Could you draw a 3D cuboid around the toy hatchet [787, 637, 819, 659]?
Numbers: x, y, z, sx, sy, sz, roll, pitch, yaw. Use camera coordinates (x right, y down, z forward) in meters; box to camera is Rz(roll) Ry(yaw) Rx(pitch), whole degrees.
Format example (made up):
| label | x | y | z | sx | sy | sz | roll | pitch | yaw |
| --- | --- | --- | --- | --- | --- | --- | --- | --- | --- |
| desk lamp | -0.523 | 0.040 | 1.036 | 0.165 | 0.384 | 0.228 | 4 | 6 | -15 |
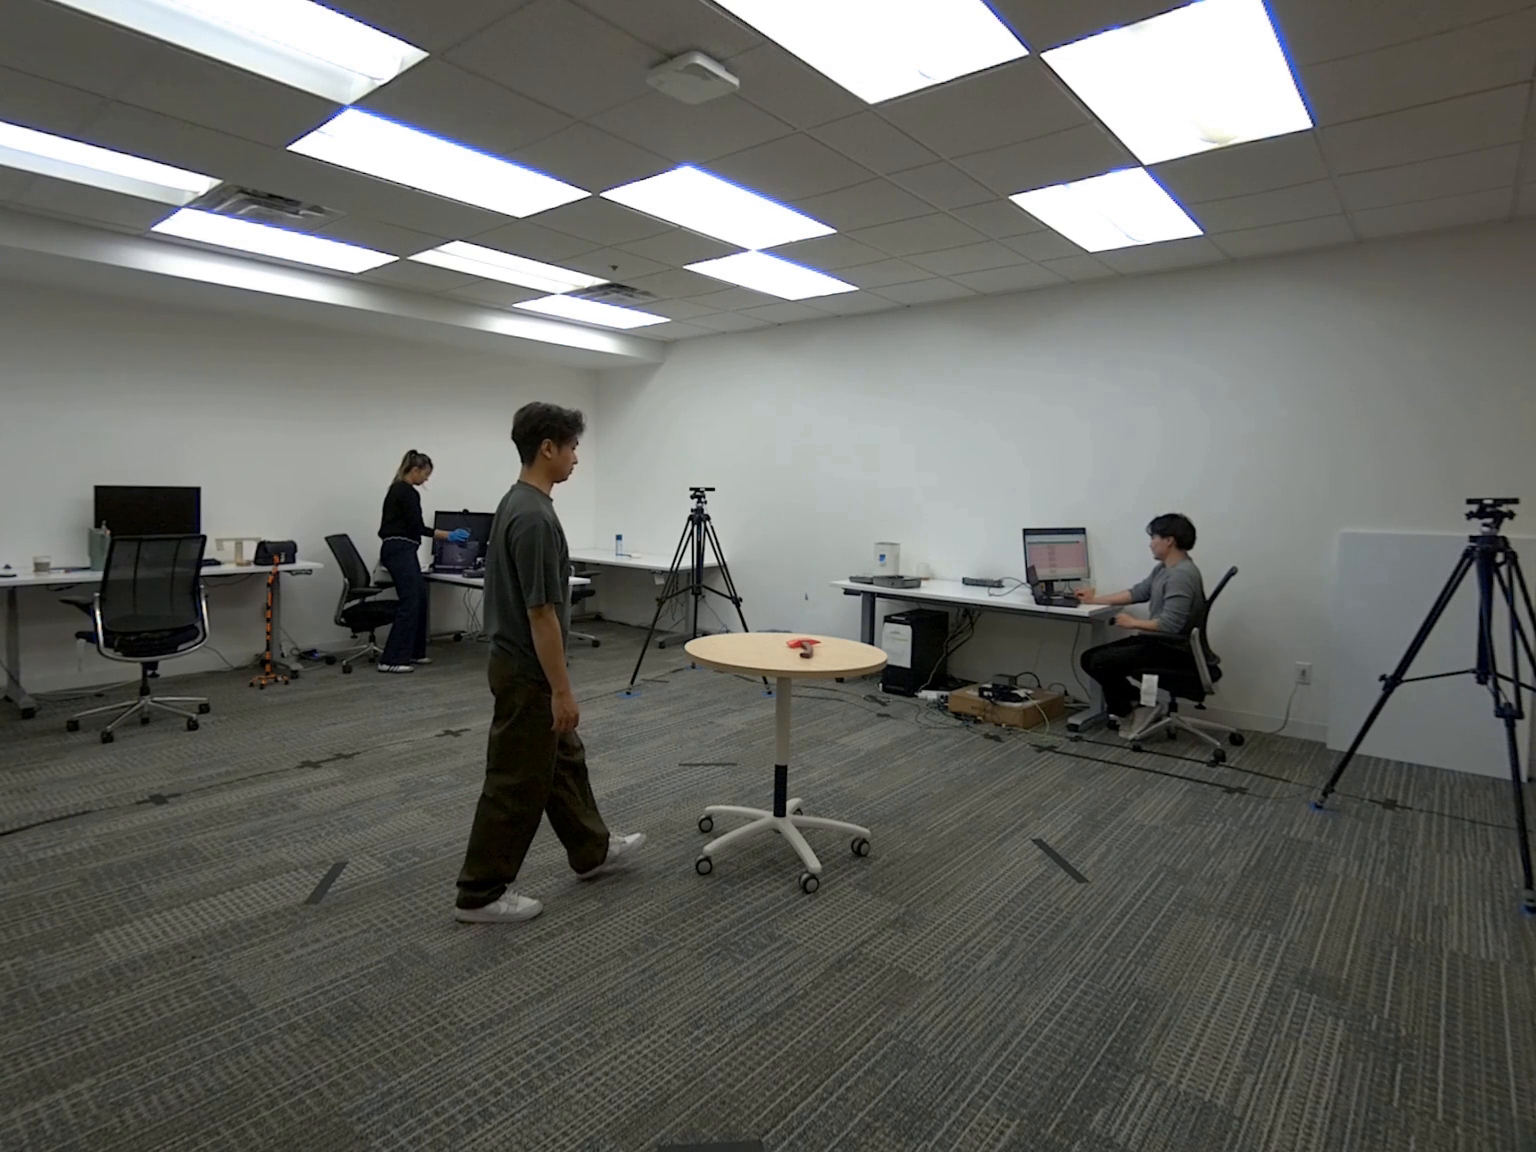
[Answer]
| label | x | y | z | sx | sy | sz | roll | pitch | yaw |
| --- | --- | --- | --- | --- | --- | --- | --- | --- | --- |
| toy hatchet | 0.114 | 0.268 | 3.216 | 0.133 | 0.029 | 0.267 | 1 | 7 | 12 |
